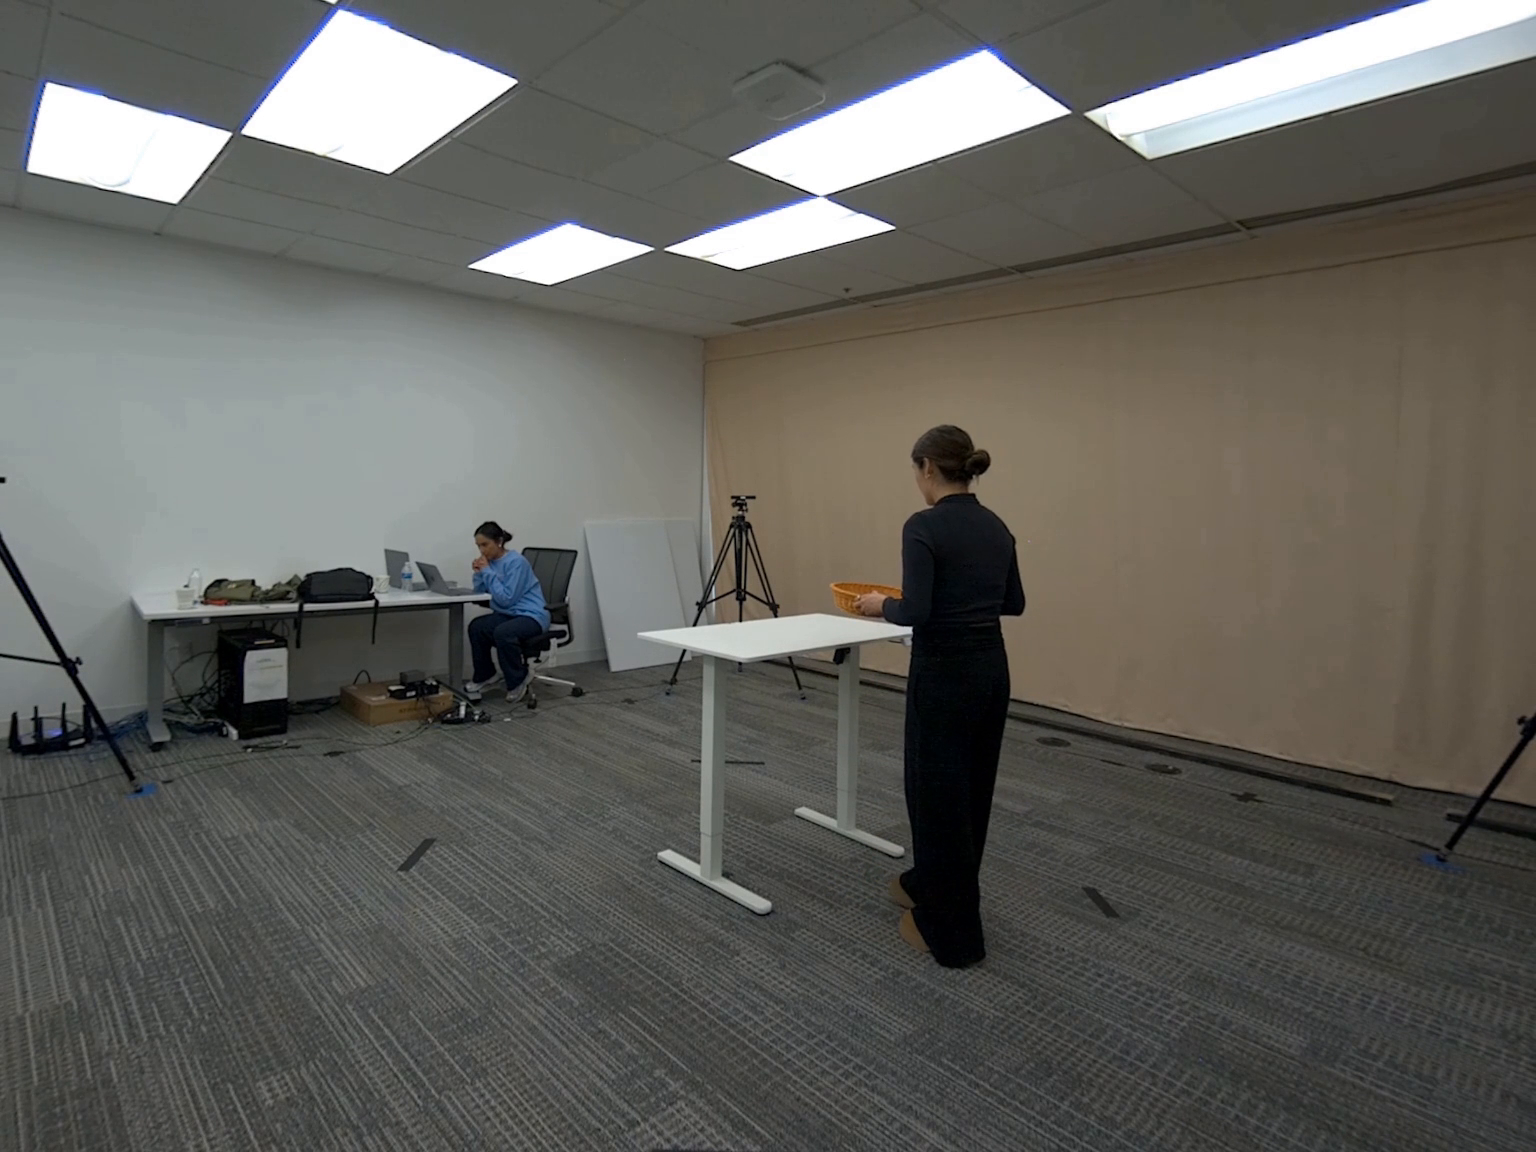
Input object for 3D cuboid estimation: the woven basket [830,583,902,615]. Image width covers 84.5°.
[{"bbox_3d":[0.413,0.099,2.849,0.259,0.073,0.342,15,11,41],"label":"woven basket"}]
